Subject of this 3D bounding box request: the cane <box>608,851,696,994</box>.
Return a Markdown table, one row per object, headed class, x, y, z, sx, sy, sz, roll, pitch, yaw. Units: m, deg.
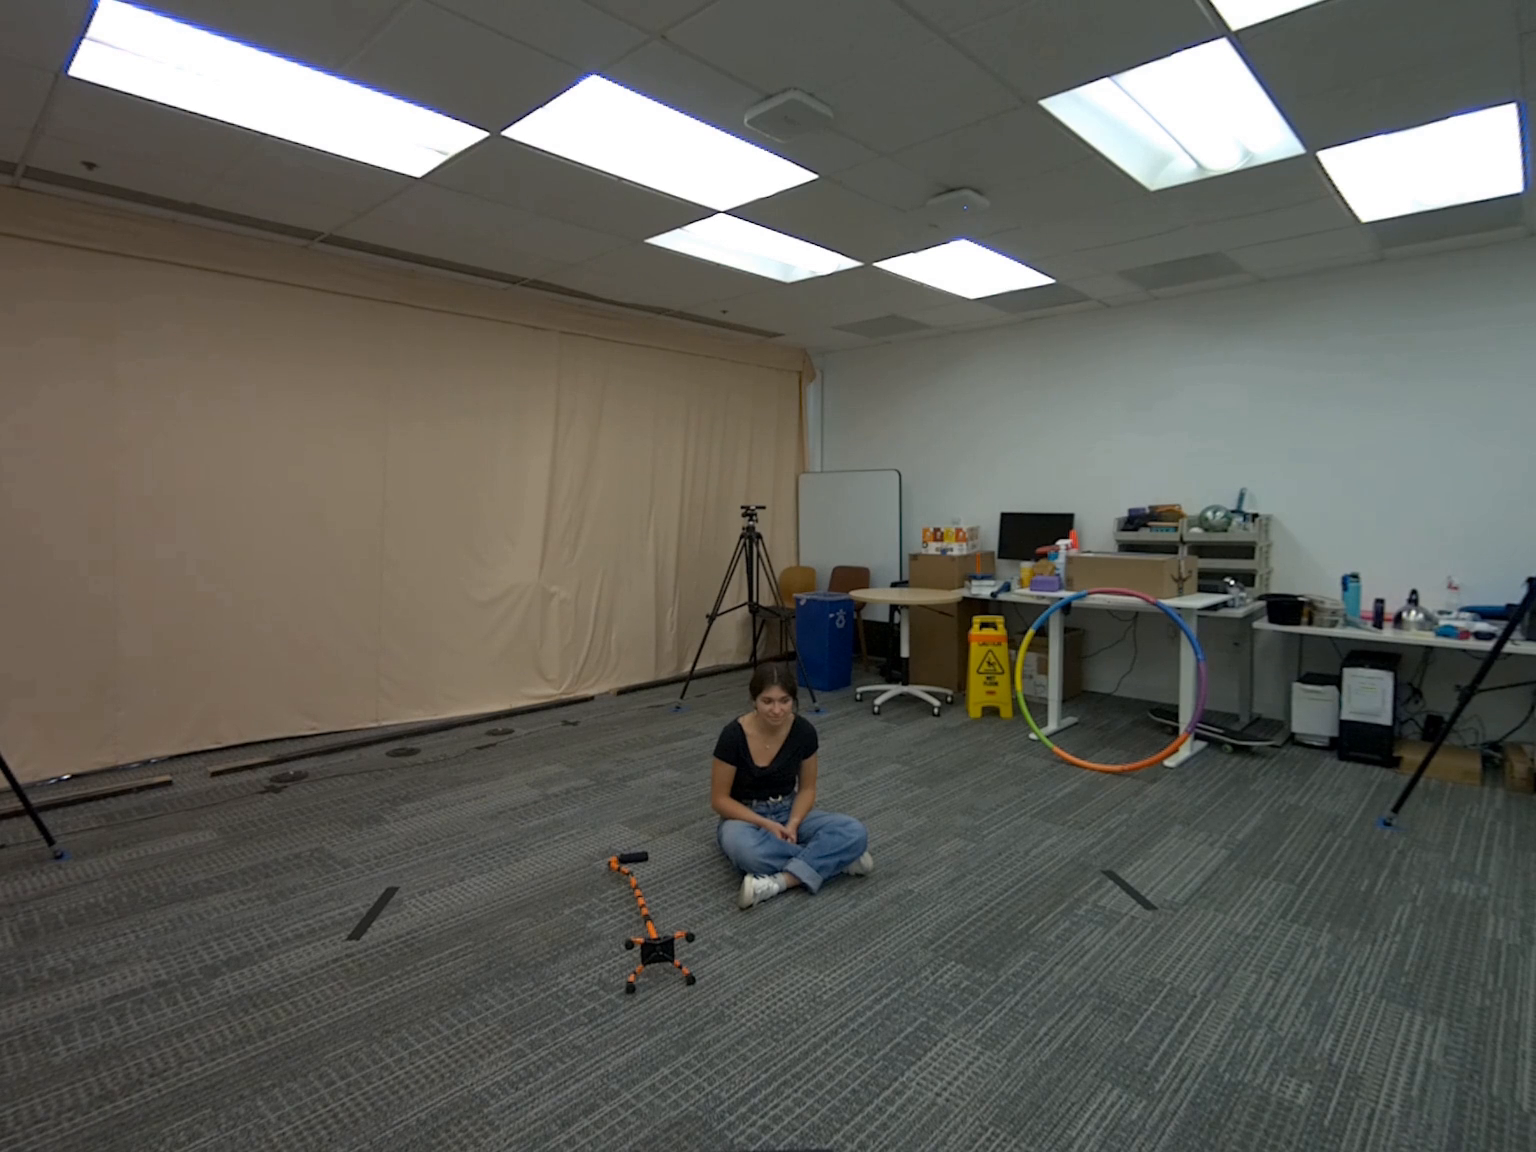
| class | x | y | z | sx | sy | sz | roll | pitch | yaw |
| --- | --- | --- | --- | --- | --- | --- | --- | --- | --- |
| cane | -0.429 | 1.112 | 2.861 | 0.203 | 0.152 | 0.921 | -2 | 0 | -16 |
